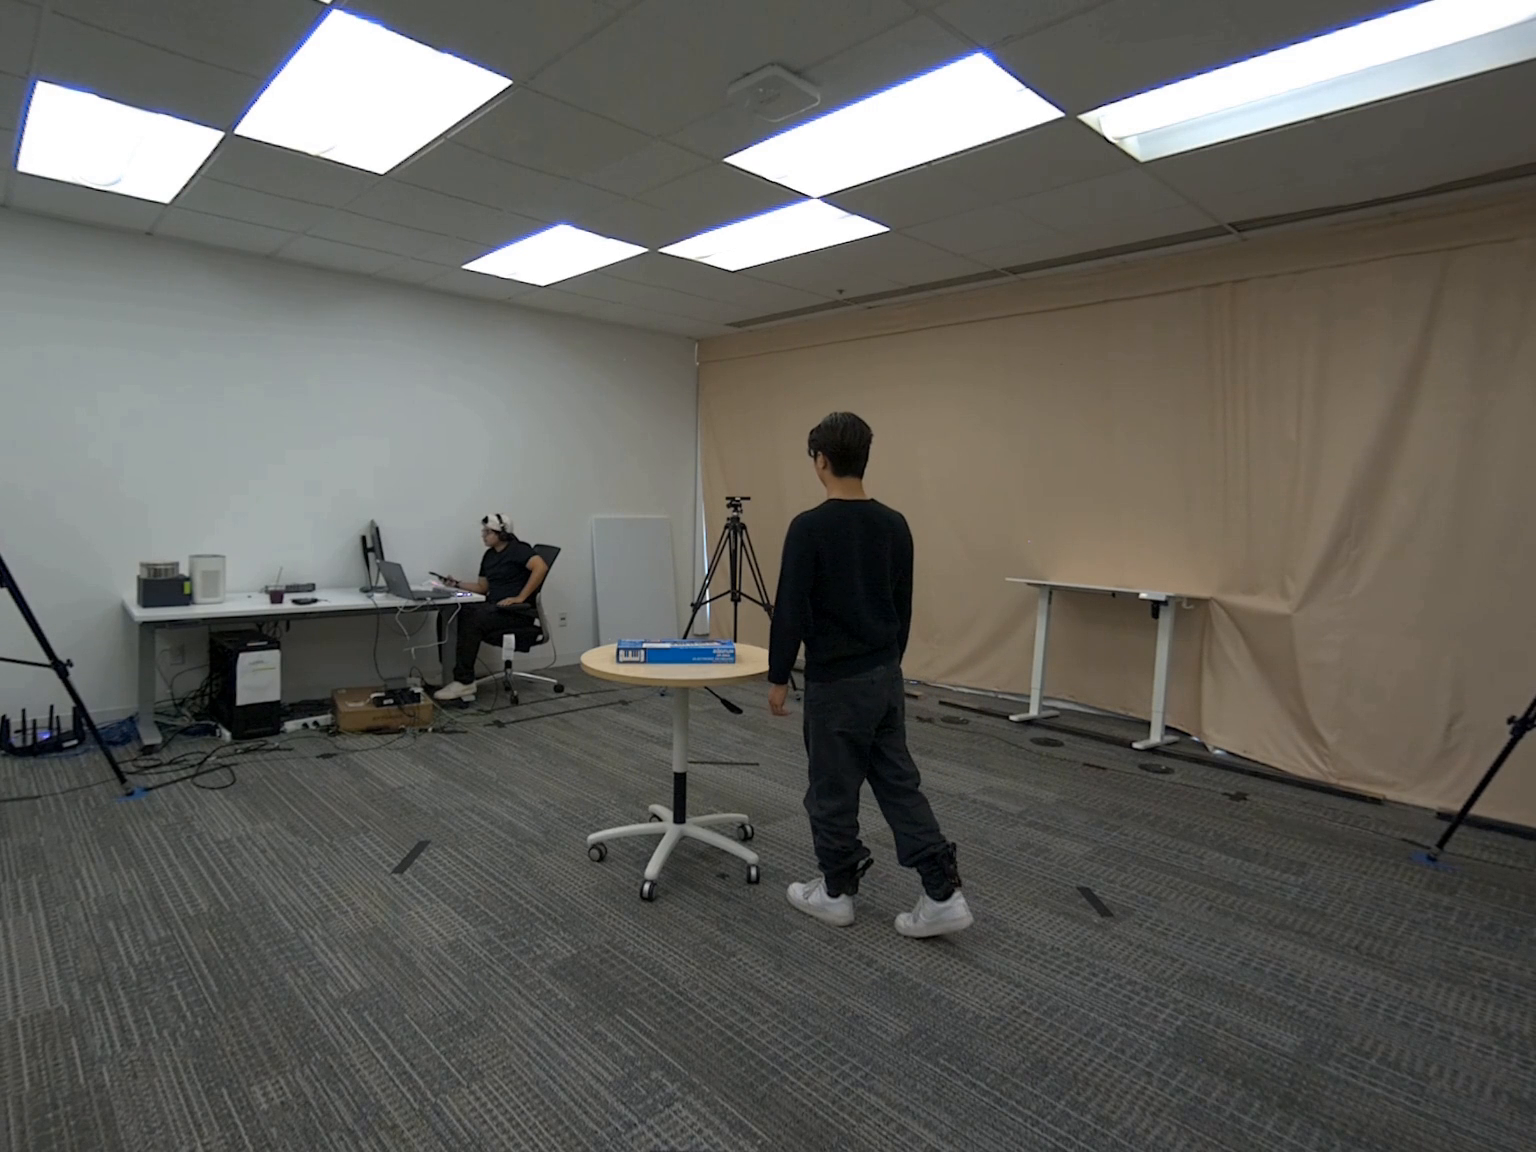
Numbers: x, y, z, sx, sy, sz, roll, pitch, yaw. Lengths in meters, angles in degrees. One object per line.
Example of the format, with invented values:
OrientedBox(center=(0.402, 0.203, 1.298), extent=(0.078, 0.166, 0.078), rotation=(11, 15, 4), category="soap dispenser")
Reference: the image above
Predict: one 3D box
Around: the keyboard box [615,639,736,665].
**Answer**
OrientedBox(center=(-0.355, 0.281, 3.168), extent=(0.434, 0.059, 0.177), rotation=(0, 6, -6), category="keyboard box")
